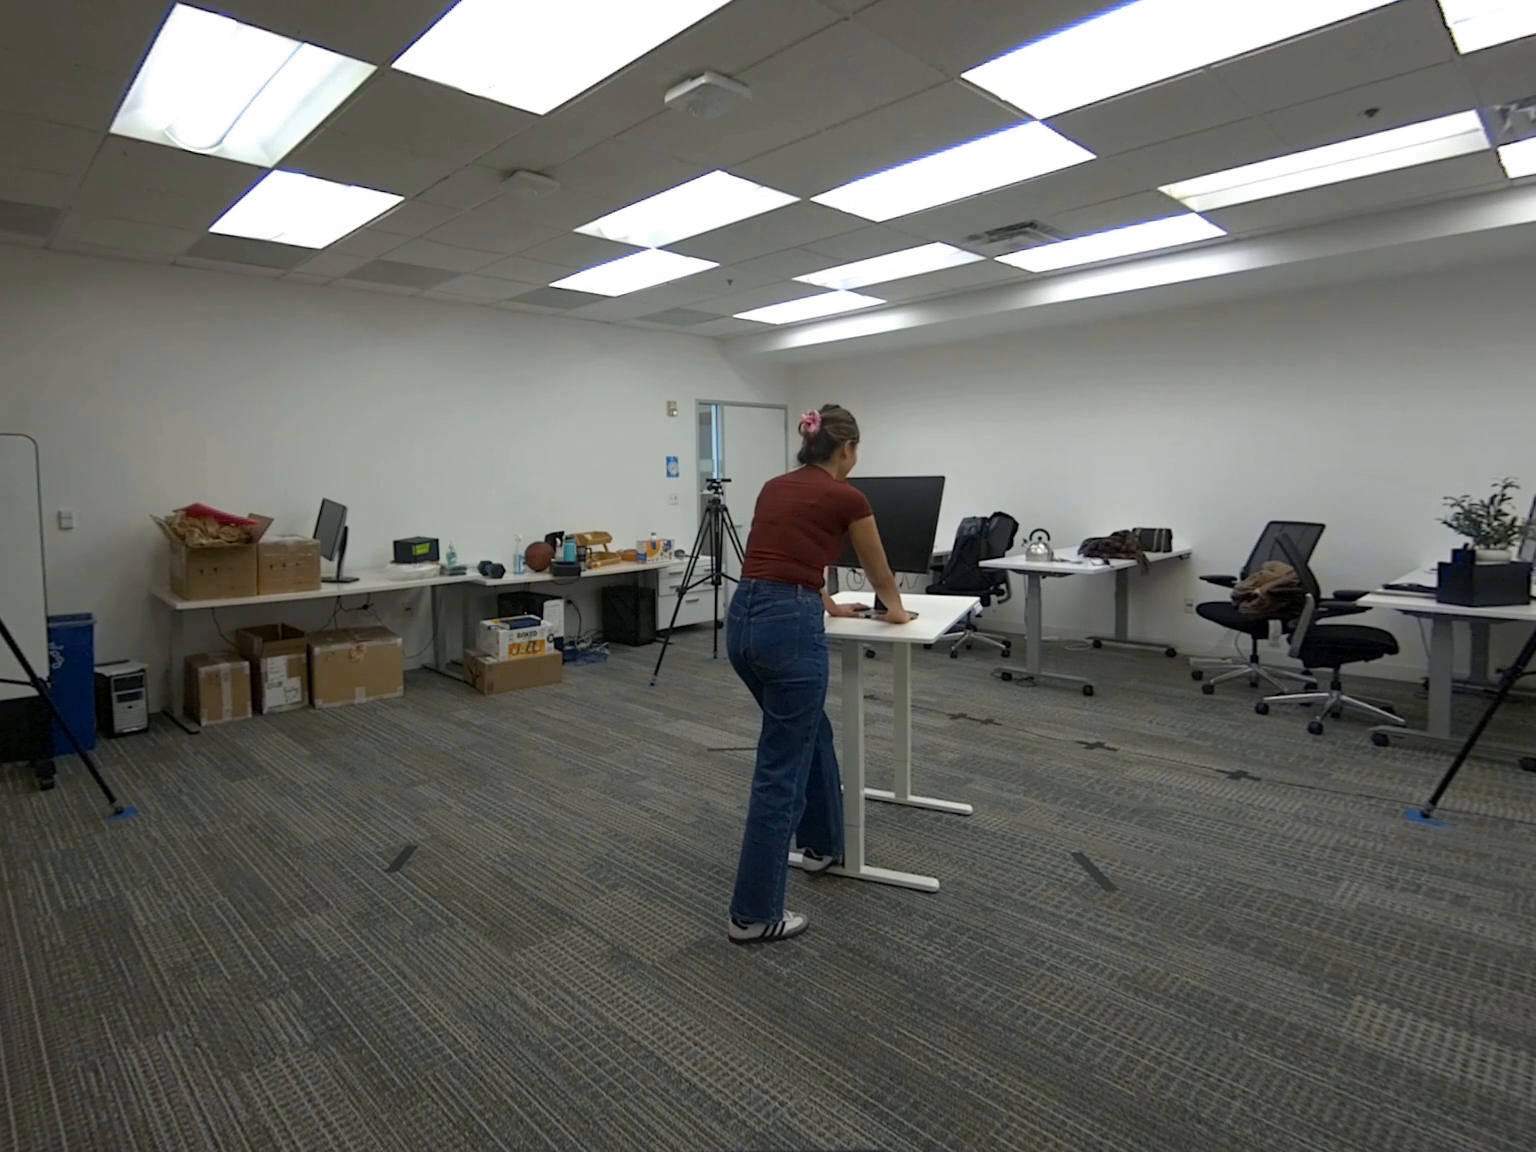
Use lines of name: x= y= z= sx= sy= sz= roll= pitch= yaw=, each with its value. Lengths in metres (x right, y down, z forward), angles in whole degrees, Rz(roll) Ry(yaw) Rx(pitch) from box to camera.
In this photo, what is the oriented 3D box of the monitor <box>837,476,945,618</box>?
monitor: x=0.422 y=-0.105 z=3.171 sx=0.556 sy=0.522 sz=0.182 roll=3 pitch=2 yaw=44
